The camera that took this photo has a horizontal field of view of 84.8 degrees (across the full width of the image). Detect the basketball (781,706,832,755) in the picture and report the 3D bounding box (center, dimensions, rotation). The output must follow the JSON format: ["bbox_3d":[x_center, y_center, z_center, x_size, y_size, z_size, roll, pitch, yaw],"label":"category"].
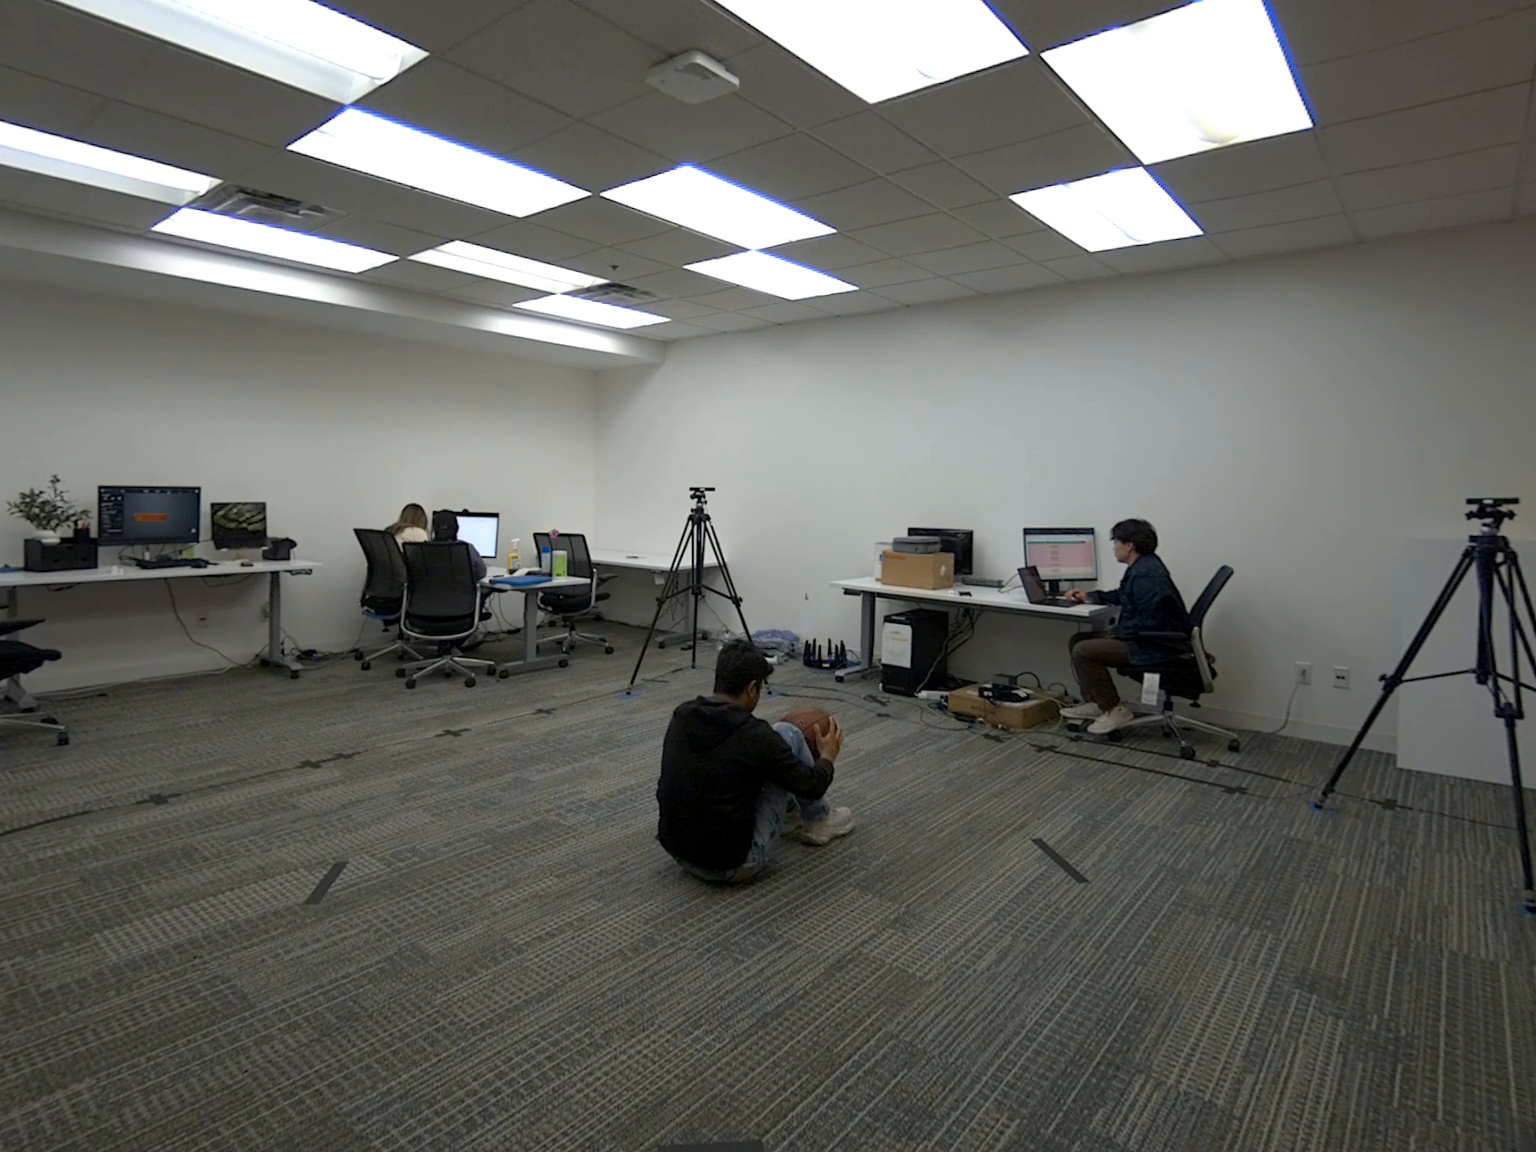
[{"bbox_3d":[0.155,0.648,3.487,0.235,0.235,0.237,1,4,-2],"label":"basketball"}]
